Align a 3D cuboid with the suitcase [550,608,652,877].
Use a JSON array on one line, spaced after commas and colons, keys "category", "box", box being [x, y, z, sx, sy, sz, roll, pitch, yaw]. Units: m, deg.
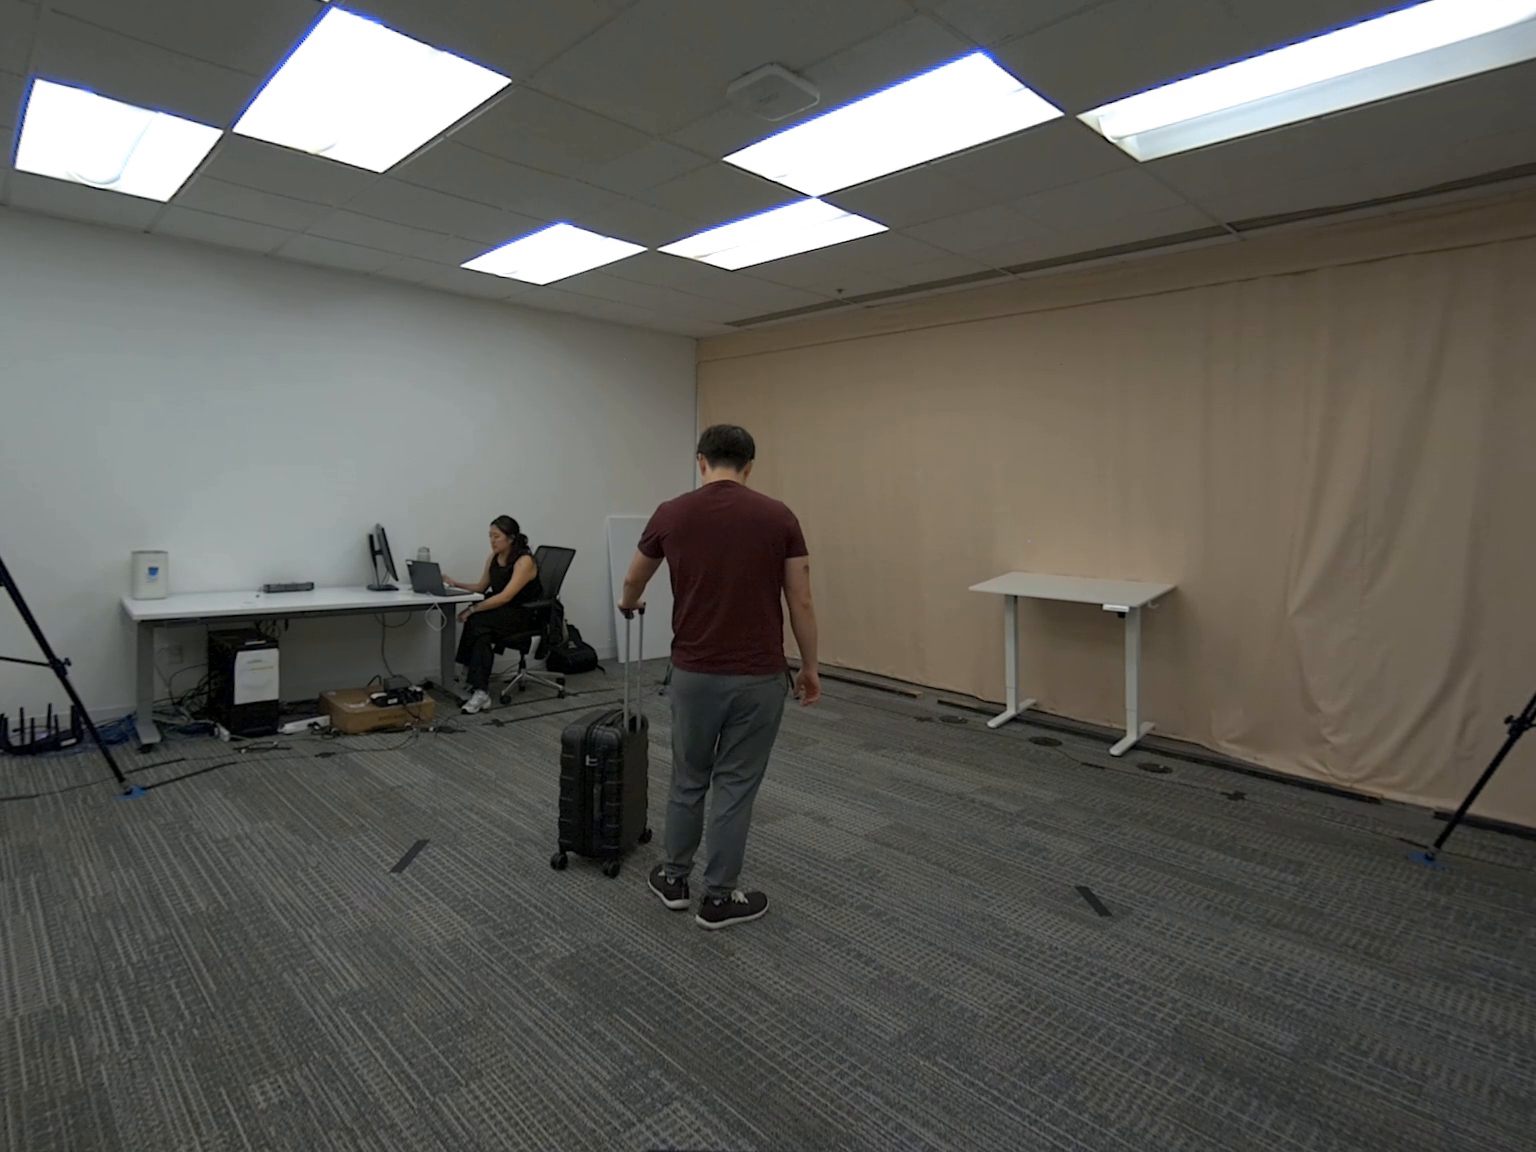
[{"category": "suitcase", "box": [-0.640, 0.602, 3.238, 0.260, 0.977, 0.380, 1, 2, 12]}]
